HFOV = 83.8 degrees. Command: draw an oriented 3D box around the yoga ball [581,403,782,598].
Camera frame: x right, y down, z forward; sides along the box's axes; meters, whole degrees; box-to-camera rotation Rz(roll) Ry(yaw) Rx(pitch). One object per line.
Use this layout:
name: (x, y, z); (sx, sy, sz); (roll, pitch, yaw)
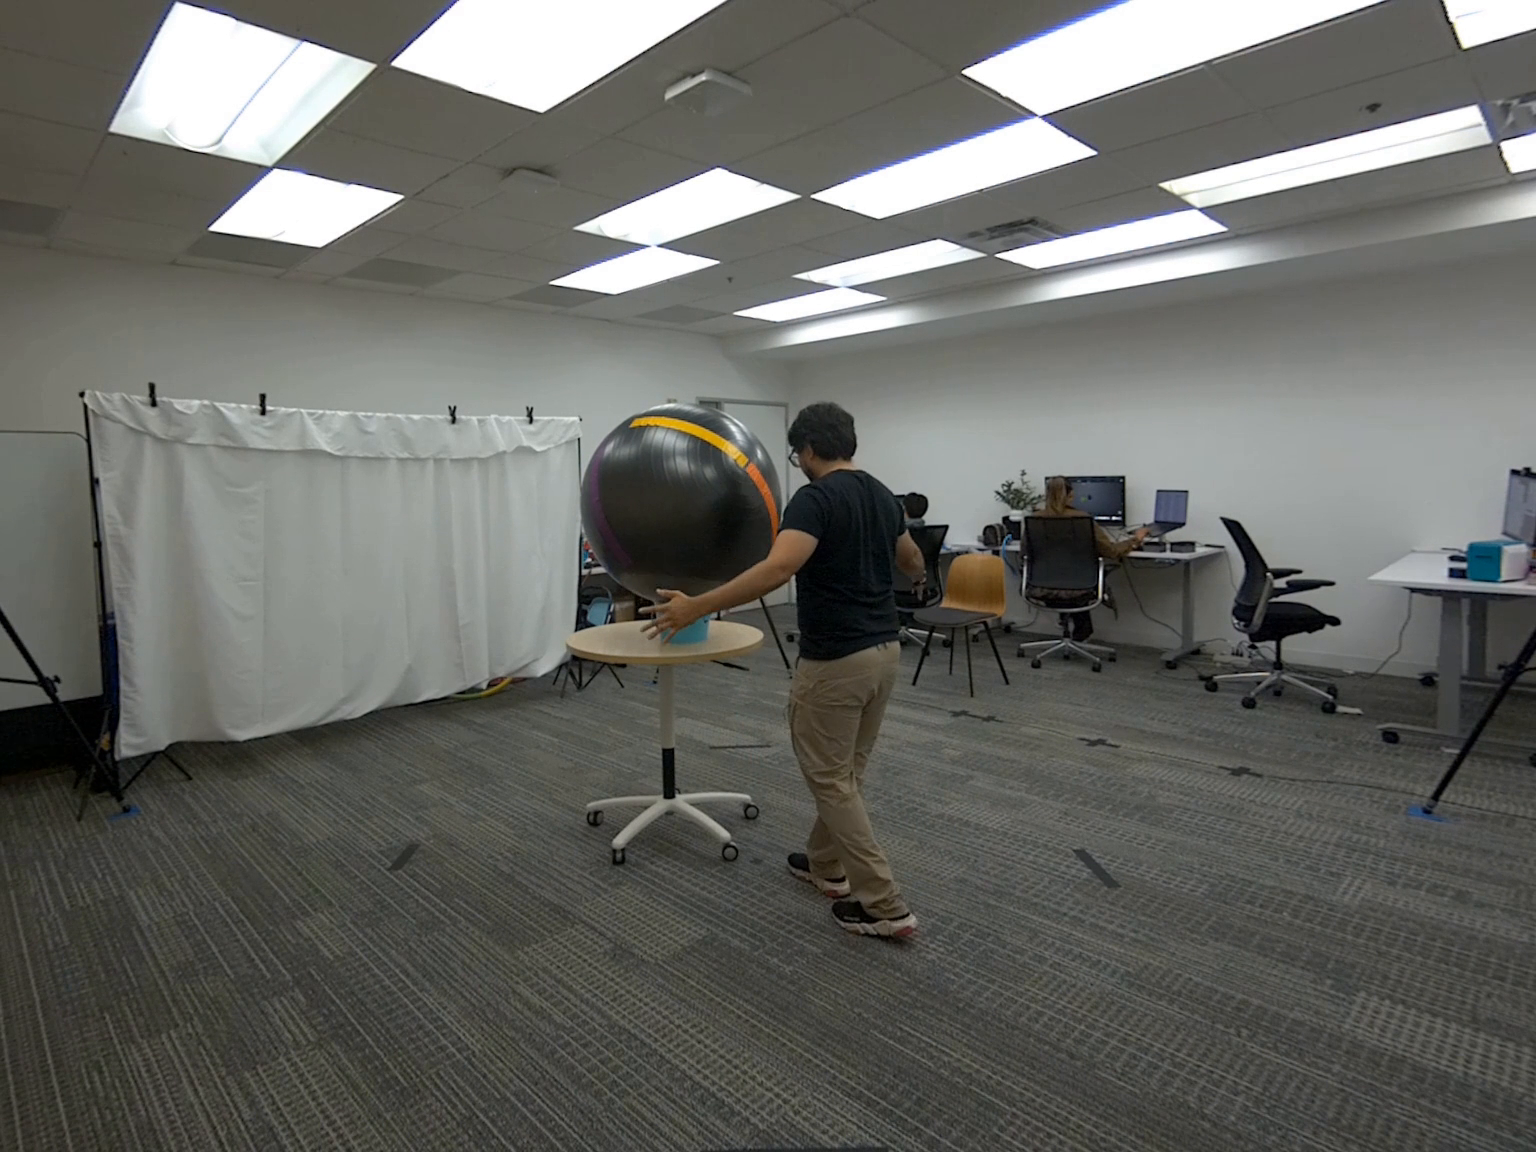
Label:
yoga ball: (-0.326, -0.264, 3.225); (0.757, 0.755, 0.762); (-1, 5, -2)
